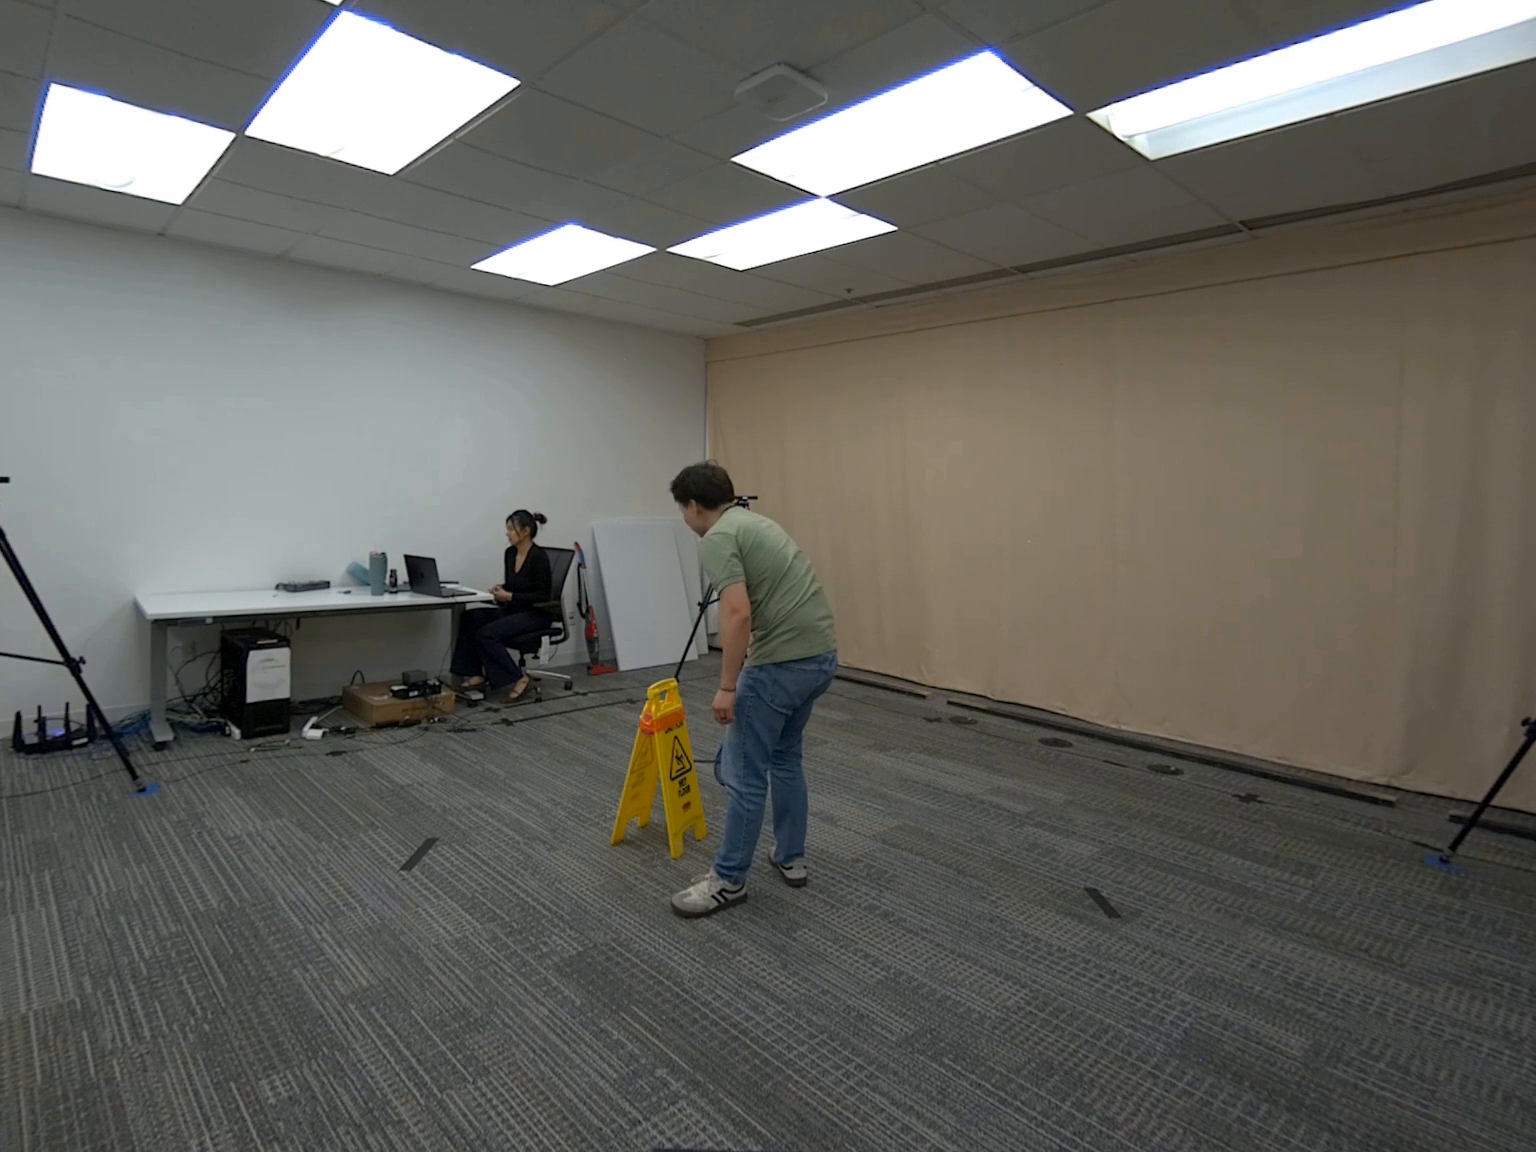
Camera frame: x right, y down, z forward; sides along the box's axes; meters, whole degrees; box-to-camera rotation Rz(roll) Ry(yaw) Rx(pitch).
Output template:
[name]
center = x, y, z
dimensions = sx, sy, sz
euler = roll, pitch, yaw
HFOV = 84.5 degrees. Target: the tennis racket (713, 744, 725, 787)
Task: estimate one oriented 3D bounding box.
[tennis racket]
center = -0.124, 0.645, 3.227
dimensions = 0.033, 0.433, 0.207
euler = 18, 1, 40
